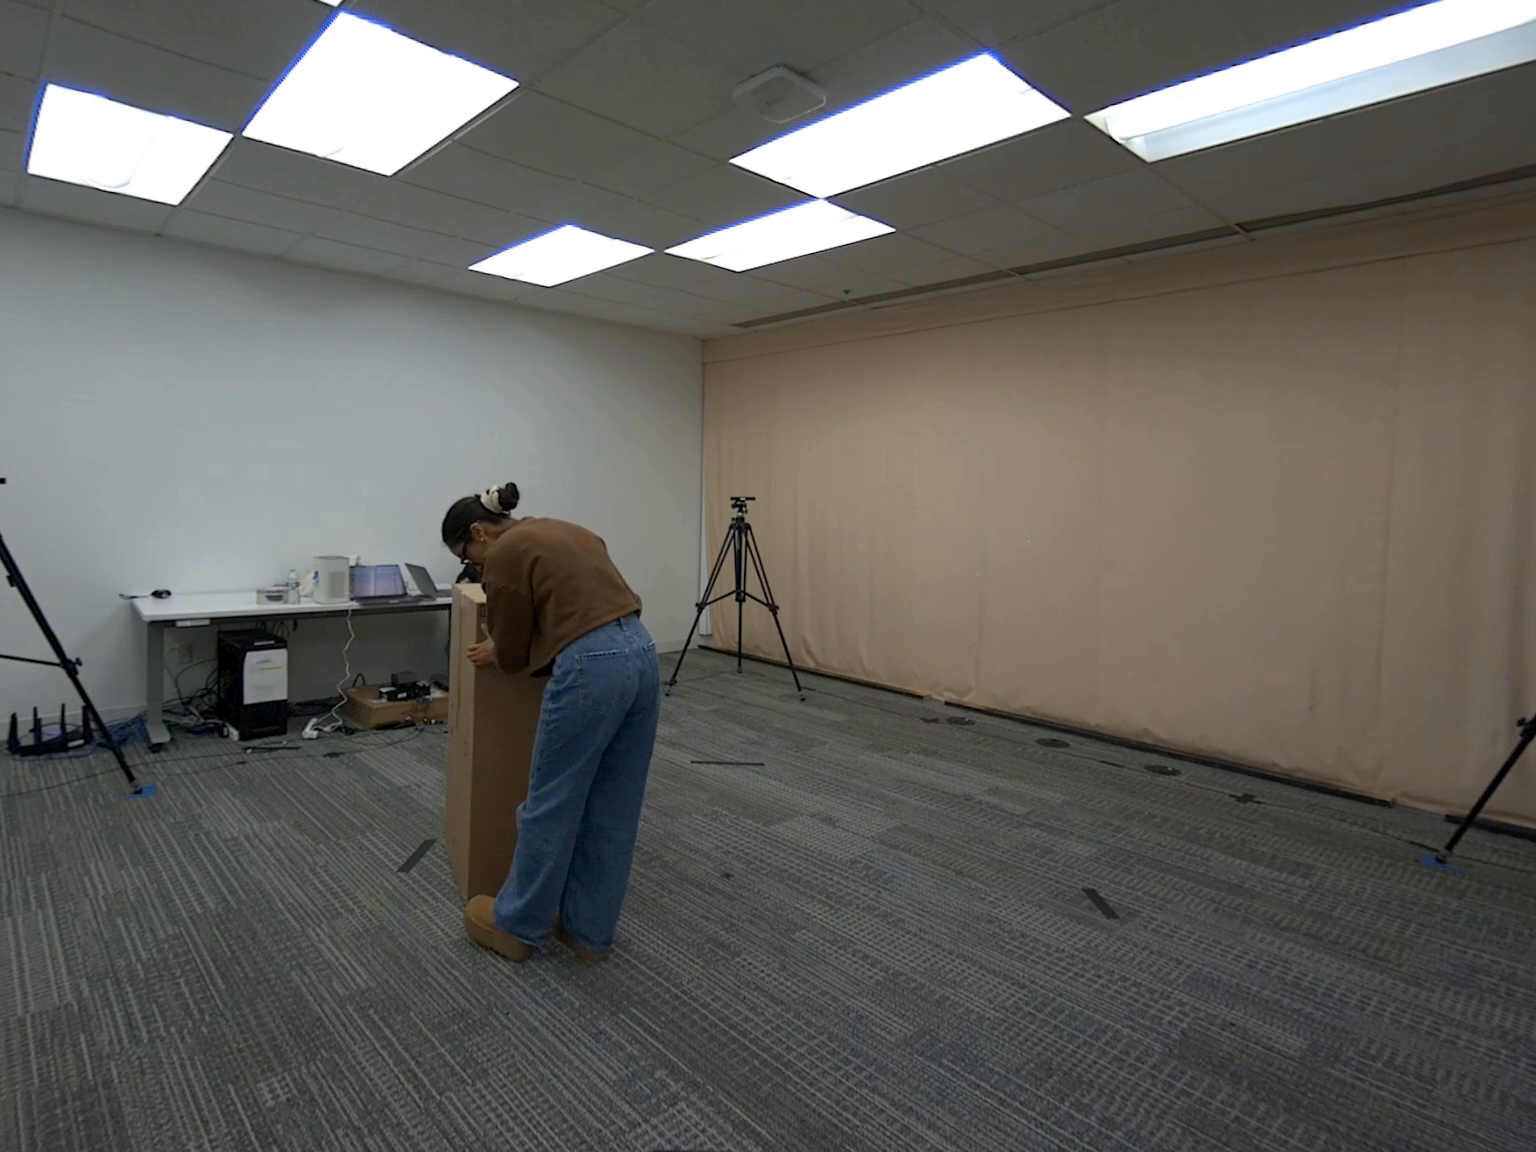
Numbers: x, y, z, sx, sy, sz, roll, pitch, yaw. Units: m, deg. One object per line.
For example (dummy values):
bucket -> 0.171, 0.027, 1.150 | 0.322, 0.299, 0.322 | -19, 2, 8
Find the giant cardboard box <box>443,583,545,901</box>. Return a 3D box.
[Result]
giant cardboard box -> -0.943, 0.575, 3.140 | 0.418, 1.024, 0.590 | 1, 3, -28
